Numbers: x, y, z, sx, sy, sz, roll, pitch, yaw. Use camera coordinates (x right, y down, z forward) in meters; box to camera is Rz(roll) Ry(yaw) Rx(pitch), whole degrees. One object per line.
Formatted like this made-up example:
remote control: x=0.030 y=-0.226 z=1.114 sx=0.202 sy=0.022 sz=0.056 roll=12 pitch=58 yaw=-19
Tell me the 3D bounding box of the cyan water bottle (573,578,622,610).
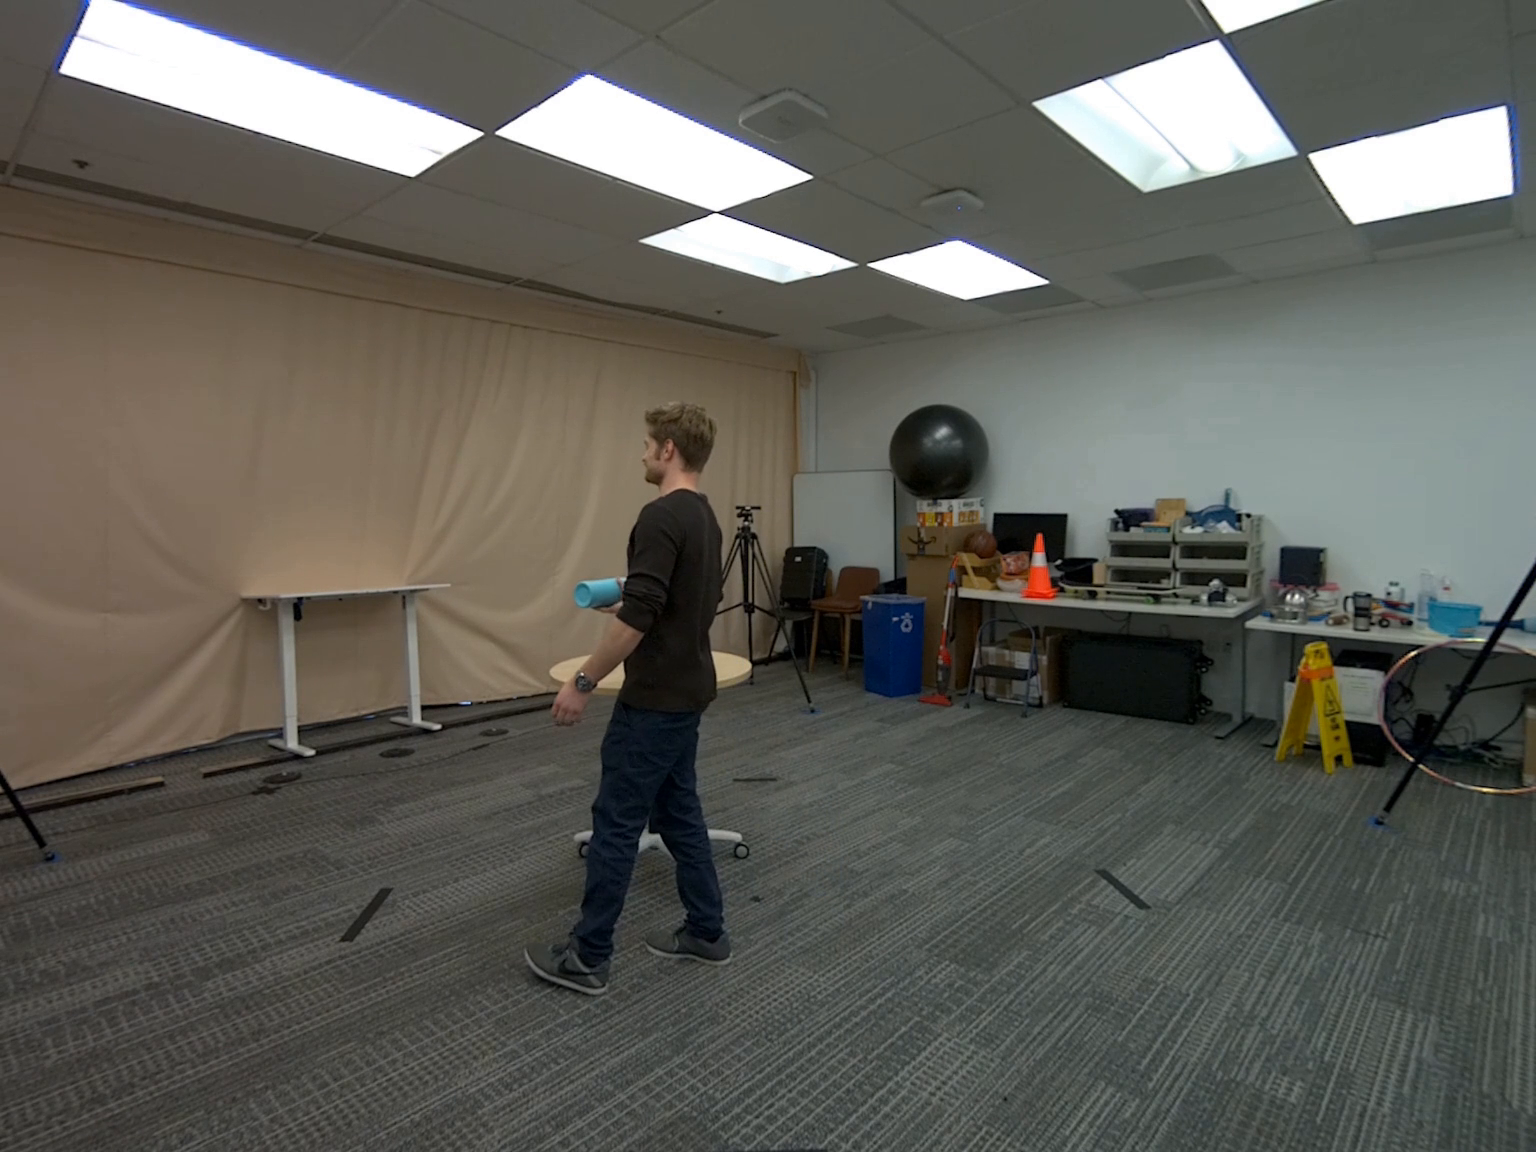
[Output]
cyan water bottle: x=-0.542 y=0.053 z=2.915 sx=0.095 sy=0.092 sz=0.275 roll=2 pitch=5 yaw=32
